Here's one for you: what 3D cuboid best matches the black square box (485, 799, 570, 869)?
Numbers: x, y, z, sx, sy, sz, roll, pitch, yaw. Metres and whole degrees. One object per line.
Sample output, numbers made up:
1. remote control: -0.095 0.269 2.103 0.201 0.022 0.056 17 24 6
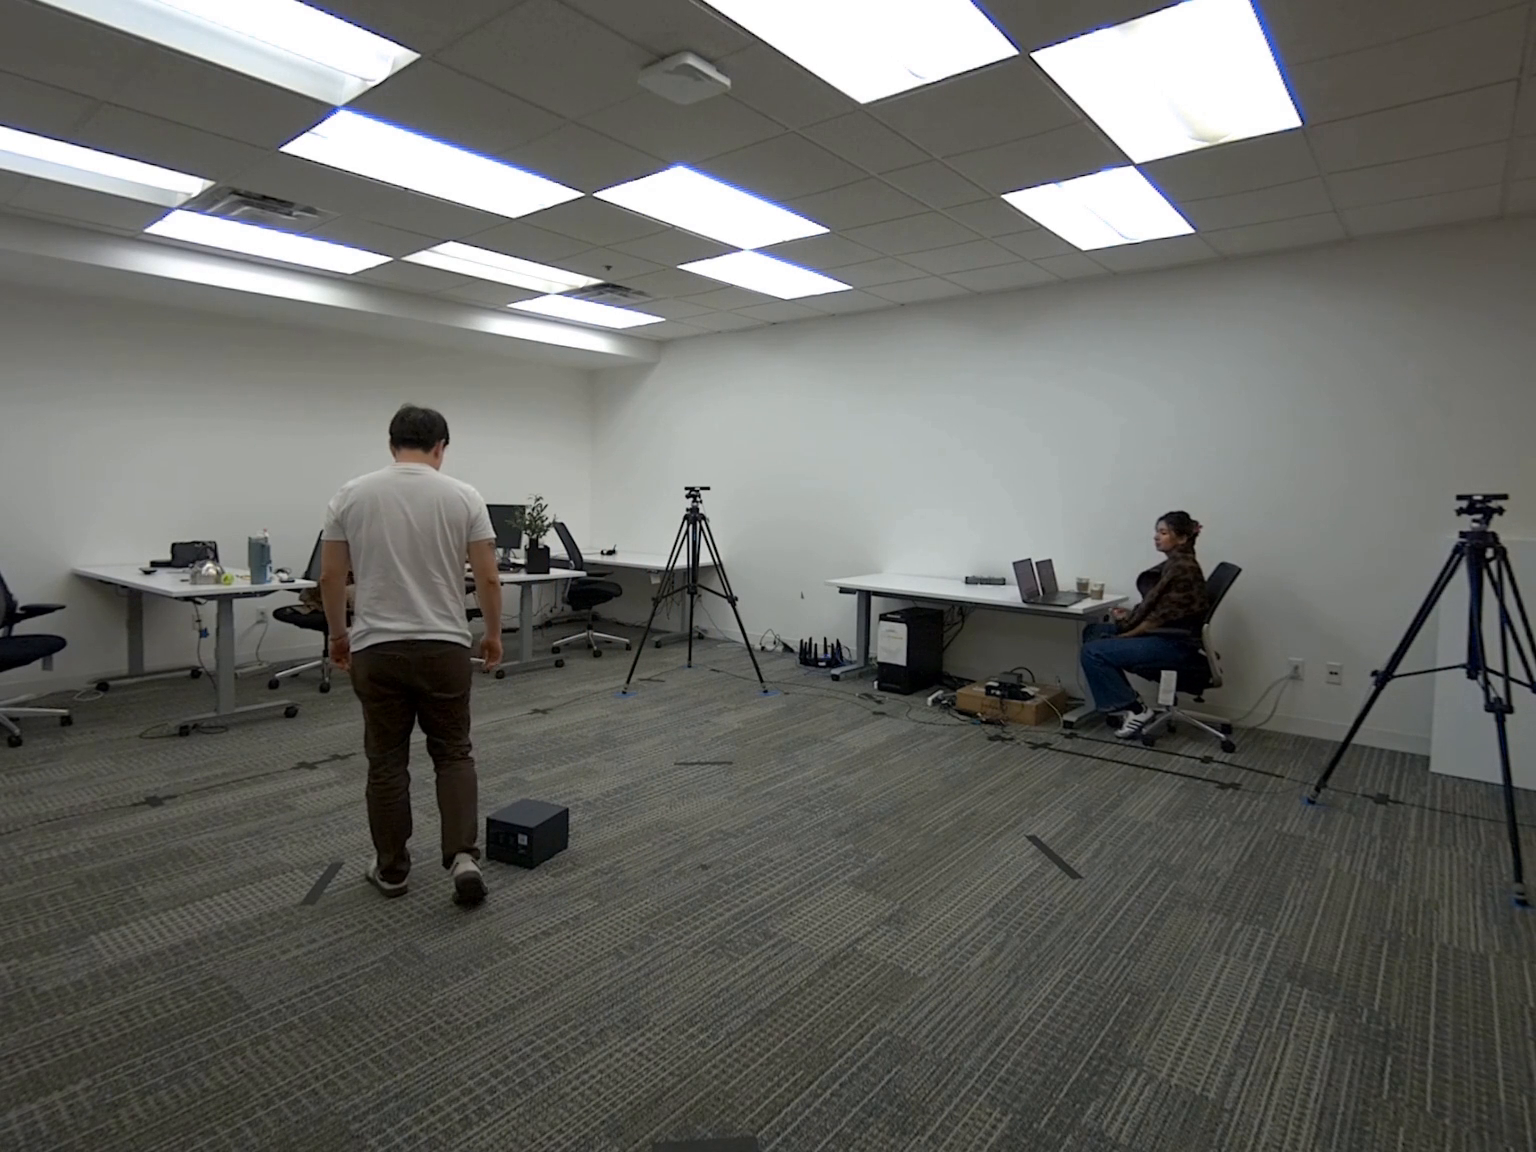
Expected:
1. black square box: -0.918 0.962 3.209 0.222 0.155 0.223 3 5 23
